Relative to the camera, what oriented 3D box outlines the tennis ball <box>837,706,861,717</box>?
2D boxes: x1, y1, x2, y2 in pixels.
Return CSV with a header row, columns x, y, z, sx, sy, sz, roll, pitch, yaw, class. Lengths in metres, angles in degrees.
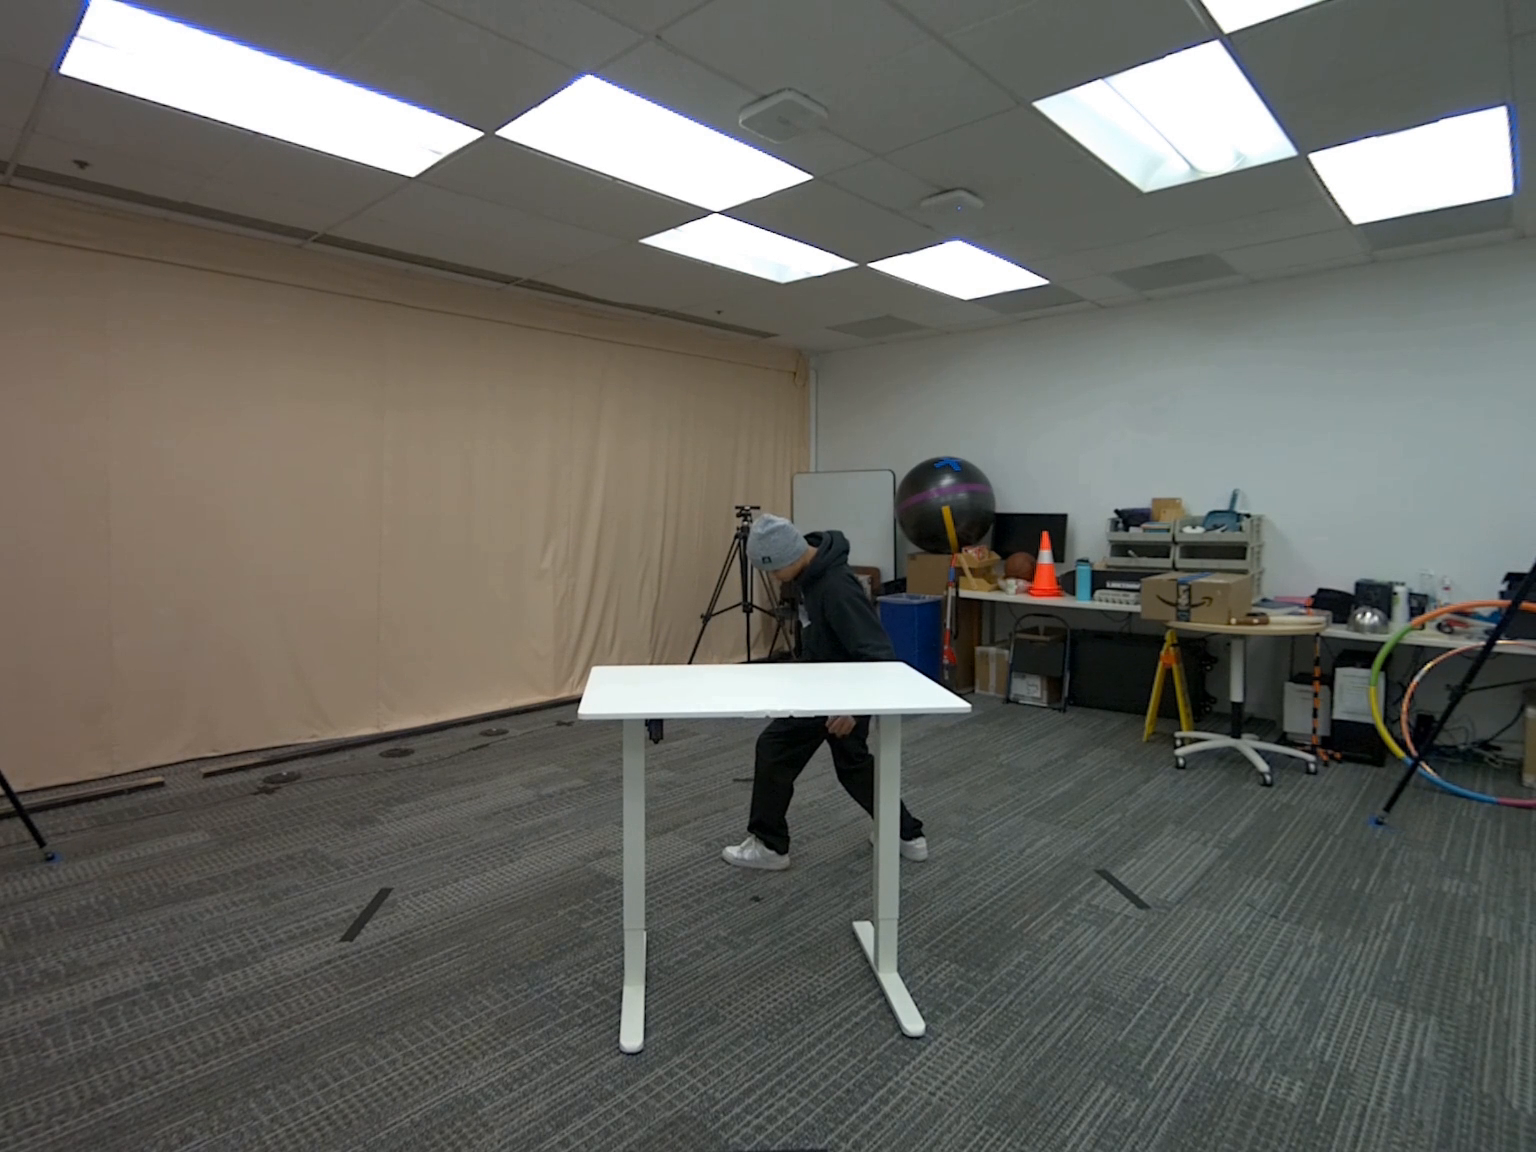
x,y,z,sx,sy,sz,roll,pitch,yaw,class
0.277,0.488,2.915,0.066,0.066,0.067,0,4,-2,tennis ball
